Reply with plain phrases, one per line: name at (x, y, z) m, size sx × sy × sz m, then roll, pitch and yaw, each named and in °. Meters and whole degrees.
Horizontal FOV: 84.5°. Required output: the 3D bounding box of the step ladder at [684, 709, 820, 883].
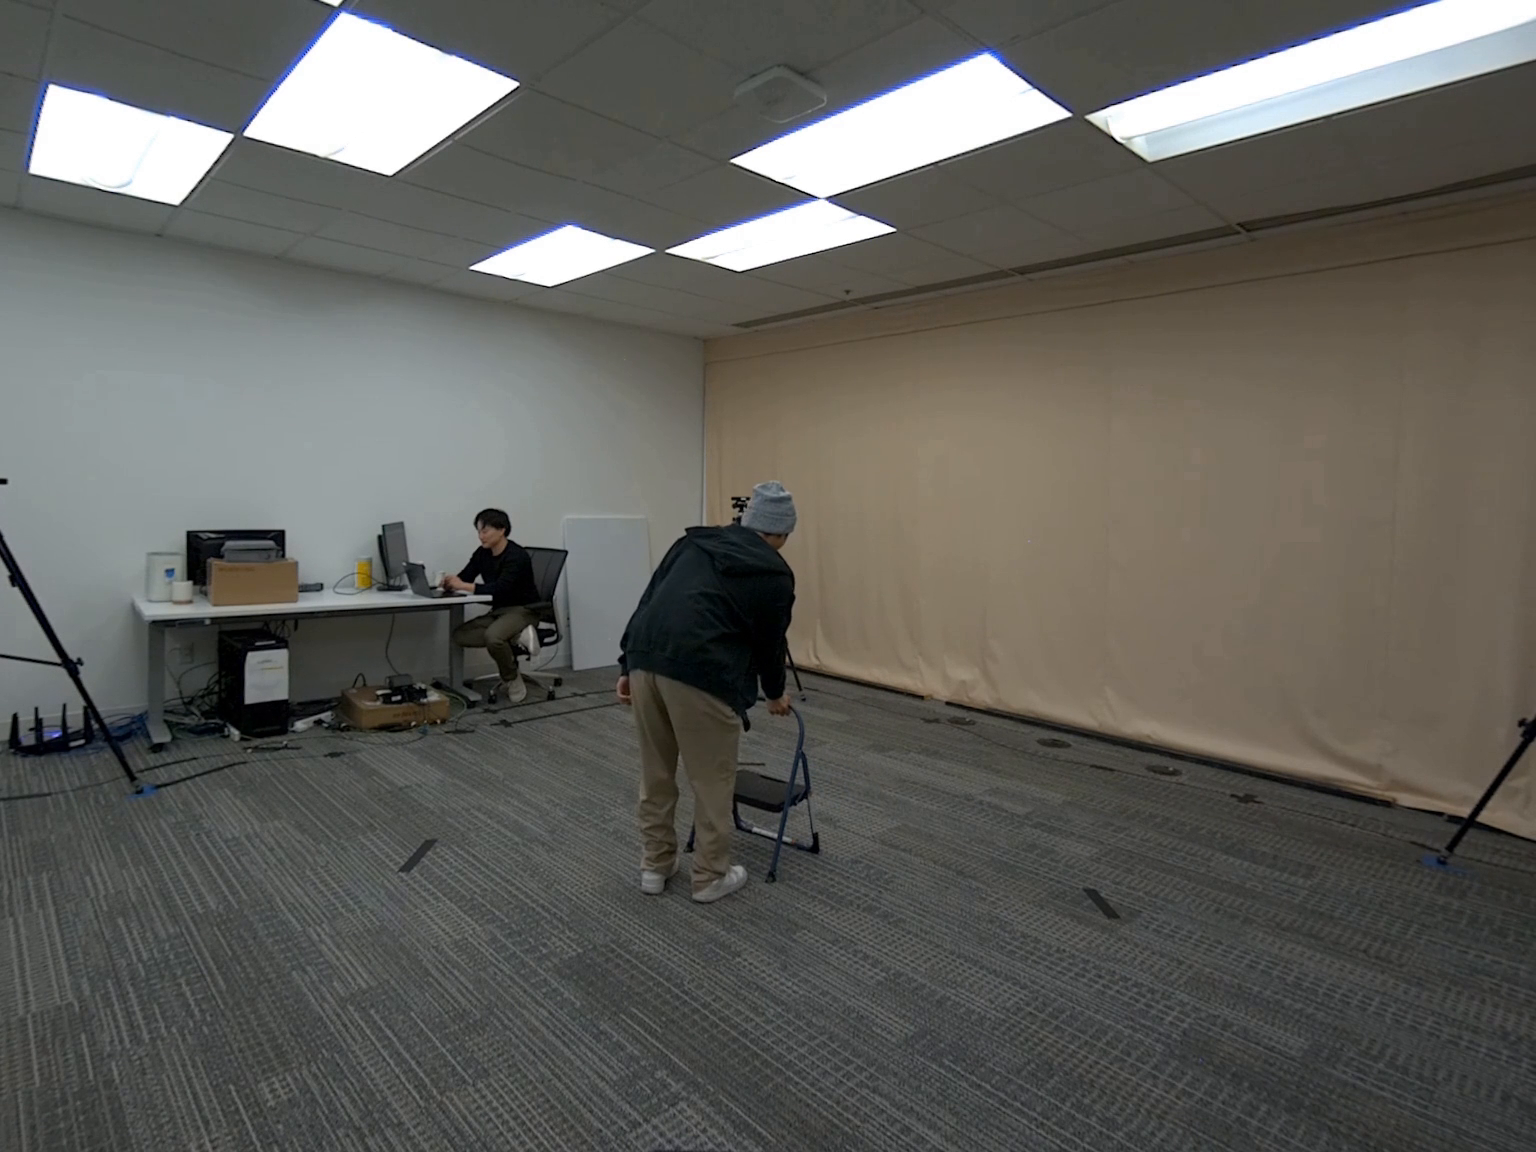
step ladder at (-0.055, 0.789, 3.307) m, size 0.441 × 0.605 × 0.342 m, roll 4°, pitch 4°, yaw 36°
